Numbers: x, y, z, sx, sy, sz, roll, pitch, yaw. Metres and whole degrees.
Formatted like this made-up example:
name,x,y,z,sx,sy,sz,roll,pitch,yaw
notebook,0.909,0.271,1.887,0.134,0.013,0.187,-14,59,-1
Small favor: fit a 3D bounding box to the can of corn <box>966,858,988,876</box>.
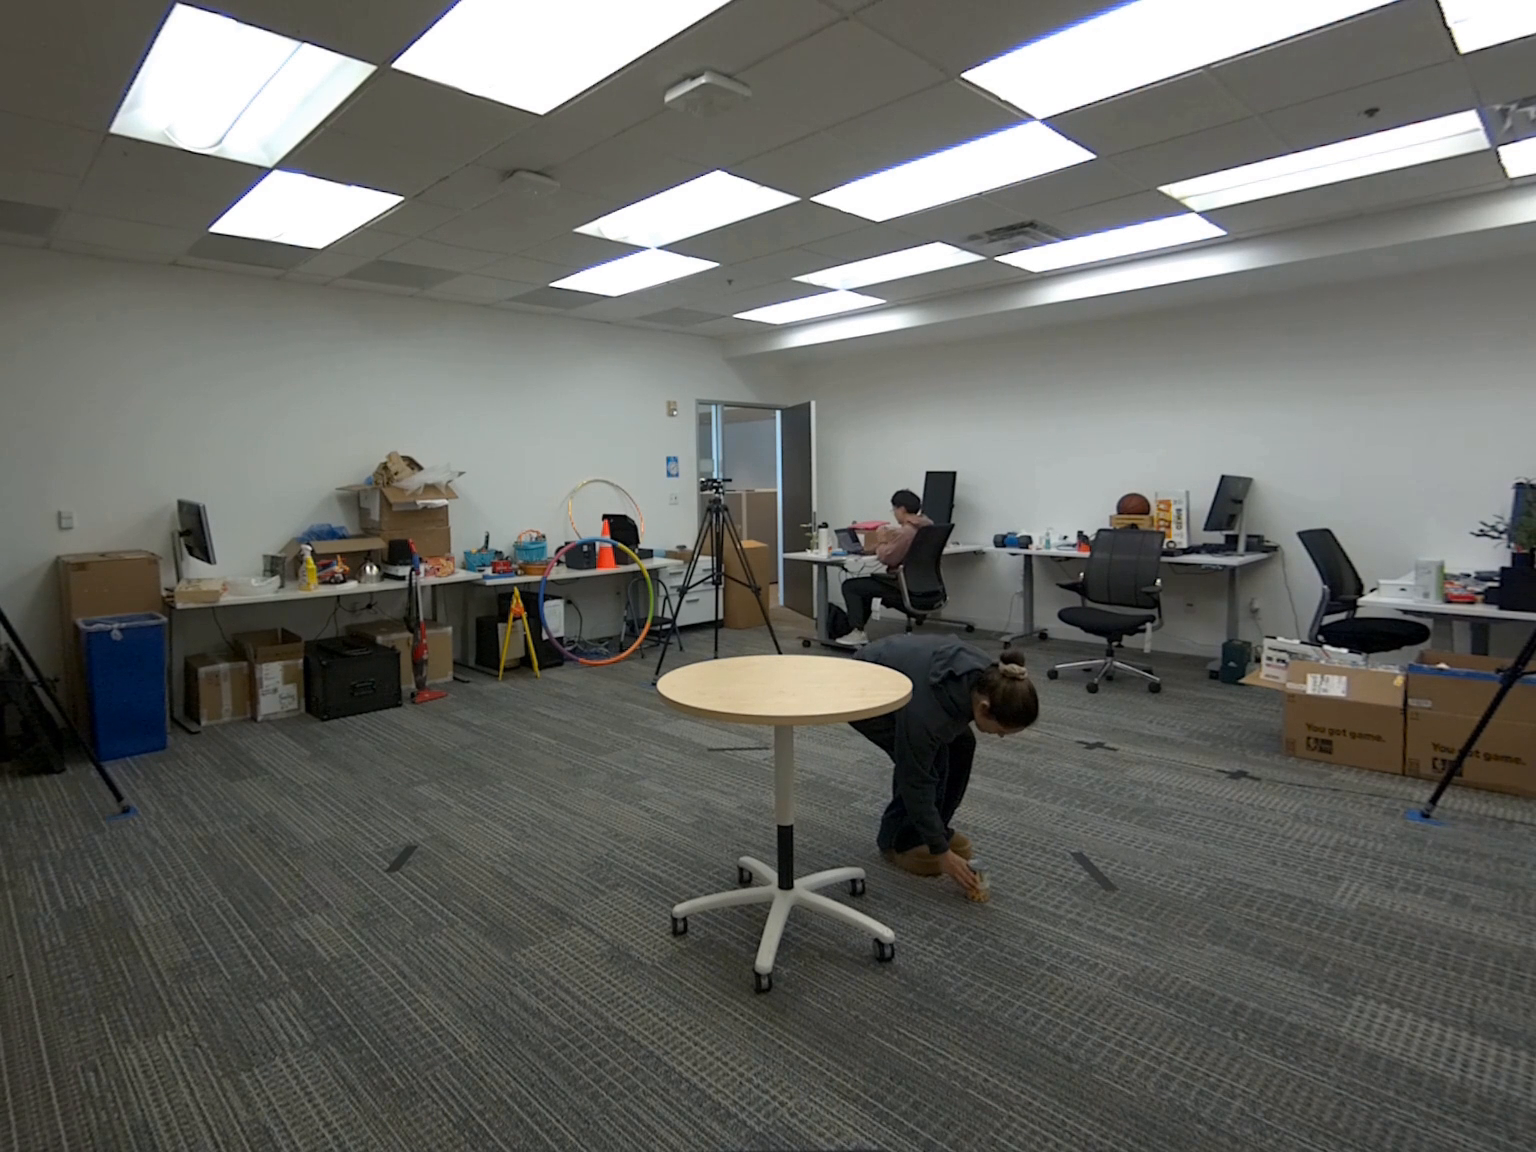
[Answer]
name,x,y,z,sx,sy,sz,roll,pitch,yaw
can of corn,0.687,1.006,2.799,0.074,0.110,0.074,0,4,-2
